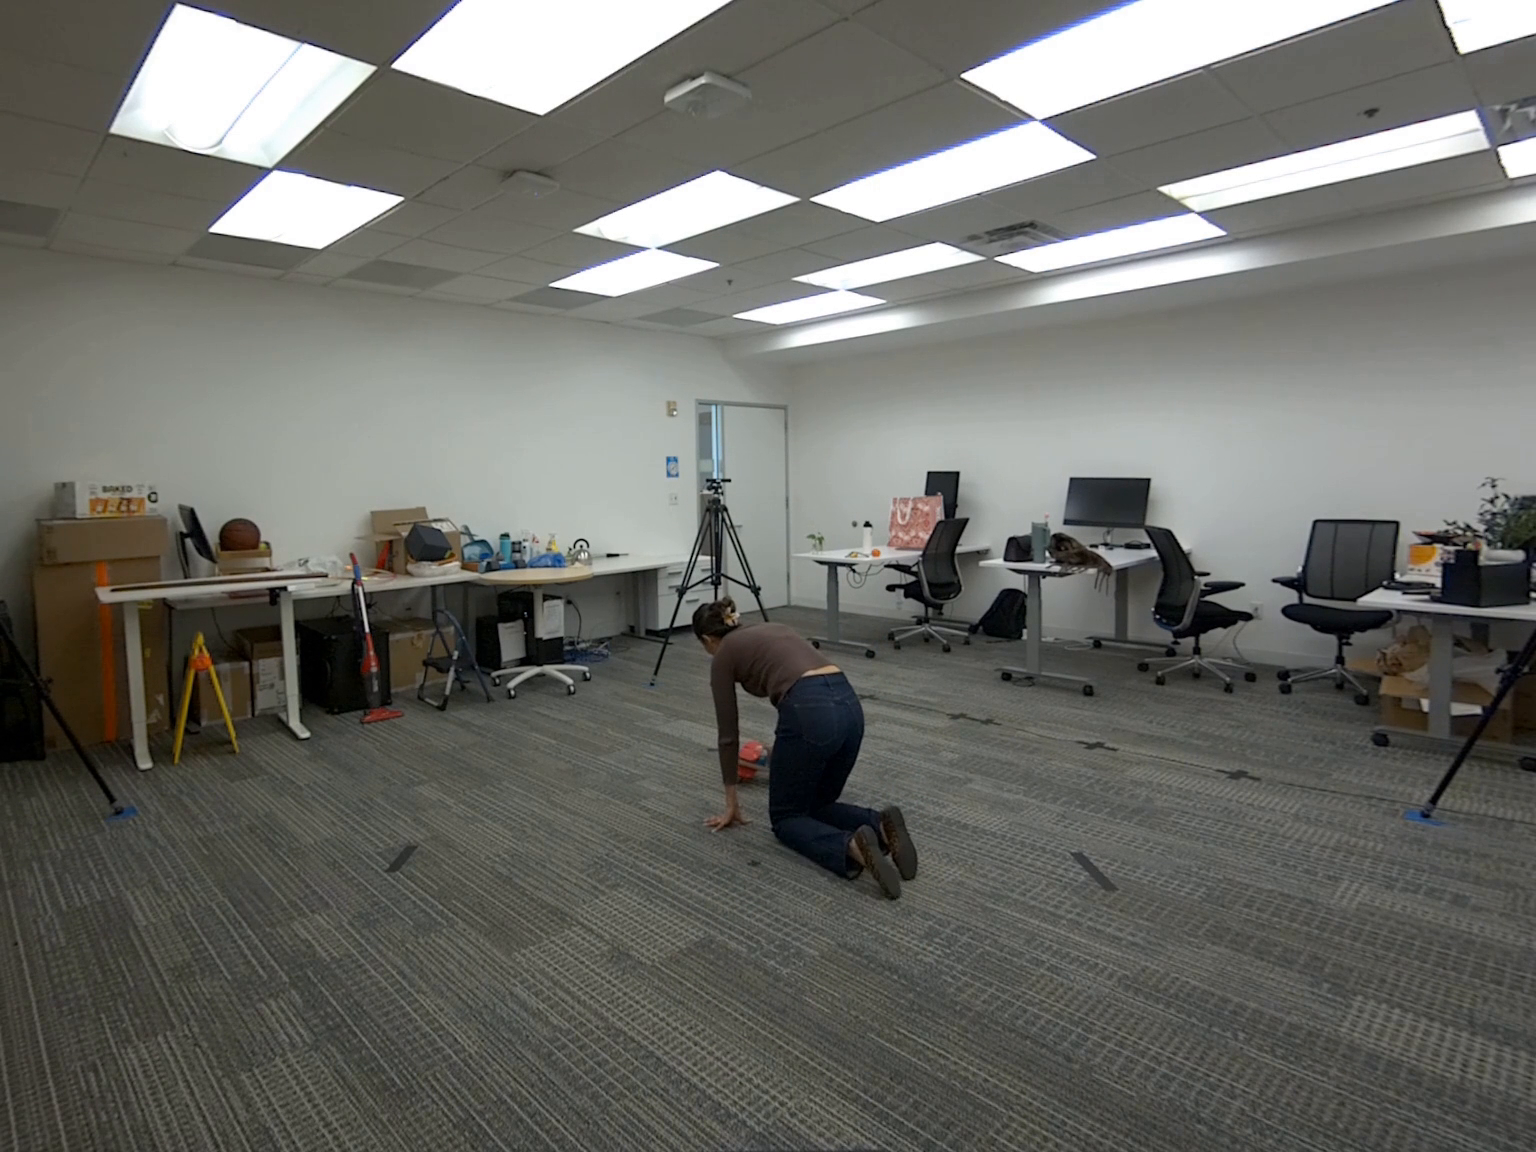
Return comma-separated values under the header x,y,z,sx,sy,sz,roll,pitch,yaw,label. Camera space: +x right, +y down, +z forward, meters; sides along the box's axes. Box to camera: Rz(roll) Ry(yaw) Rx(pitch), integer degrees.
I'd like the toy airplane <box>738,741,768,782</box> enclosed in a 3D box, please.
x,y,z,sx,sy,sz,roll,pitch,yaw,label
-0.042,0.875,3.991,0.256,0.156,0.255,-4,5,-14,toy airplane
